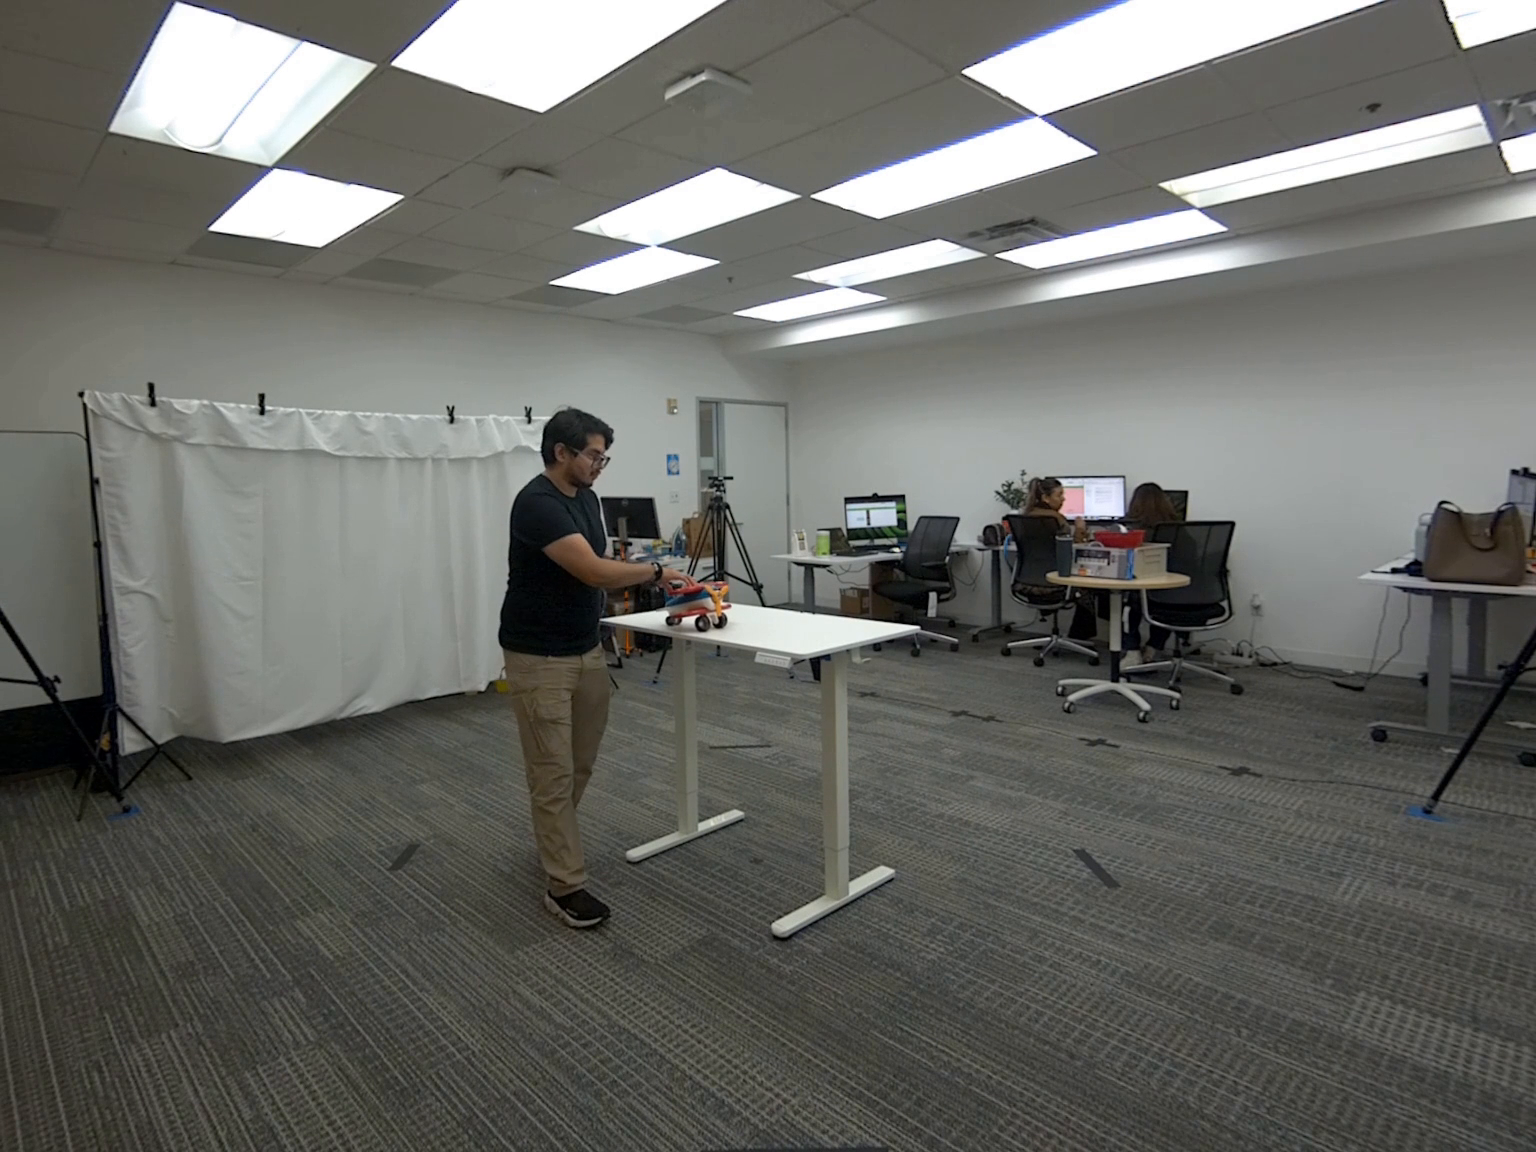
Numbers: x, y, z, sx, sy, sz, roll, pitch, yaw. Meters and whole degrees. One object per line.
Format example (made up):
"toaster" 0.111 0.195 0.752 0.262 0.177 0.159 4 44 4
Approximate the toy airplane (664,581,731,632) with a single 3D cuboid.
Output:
"toy airplane" -0.264 0.102 2.908 0.262 0.156 0.249 1 5 11
